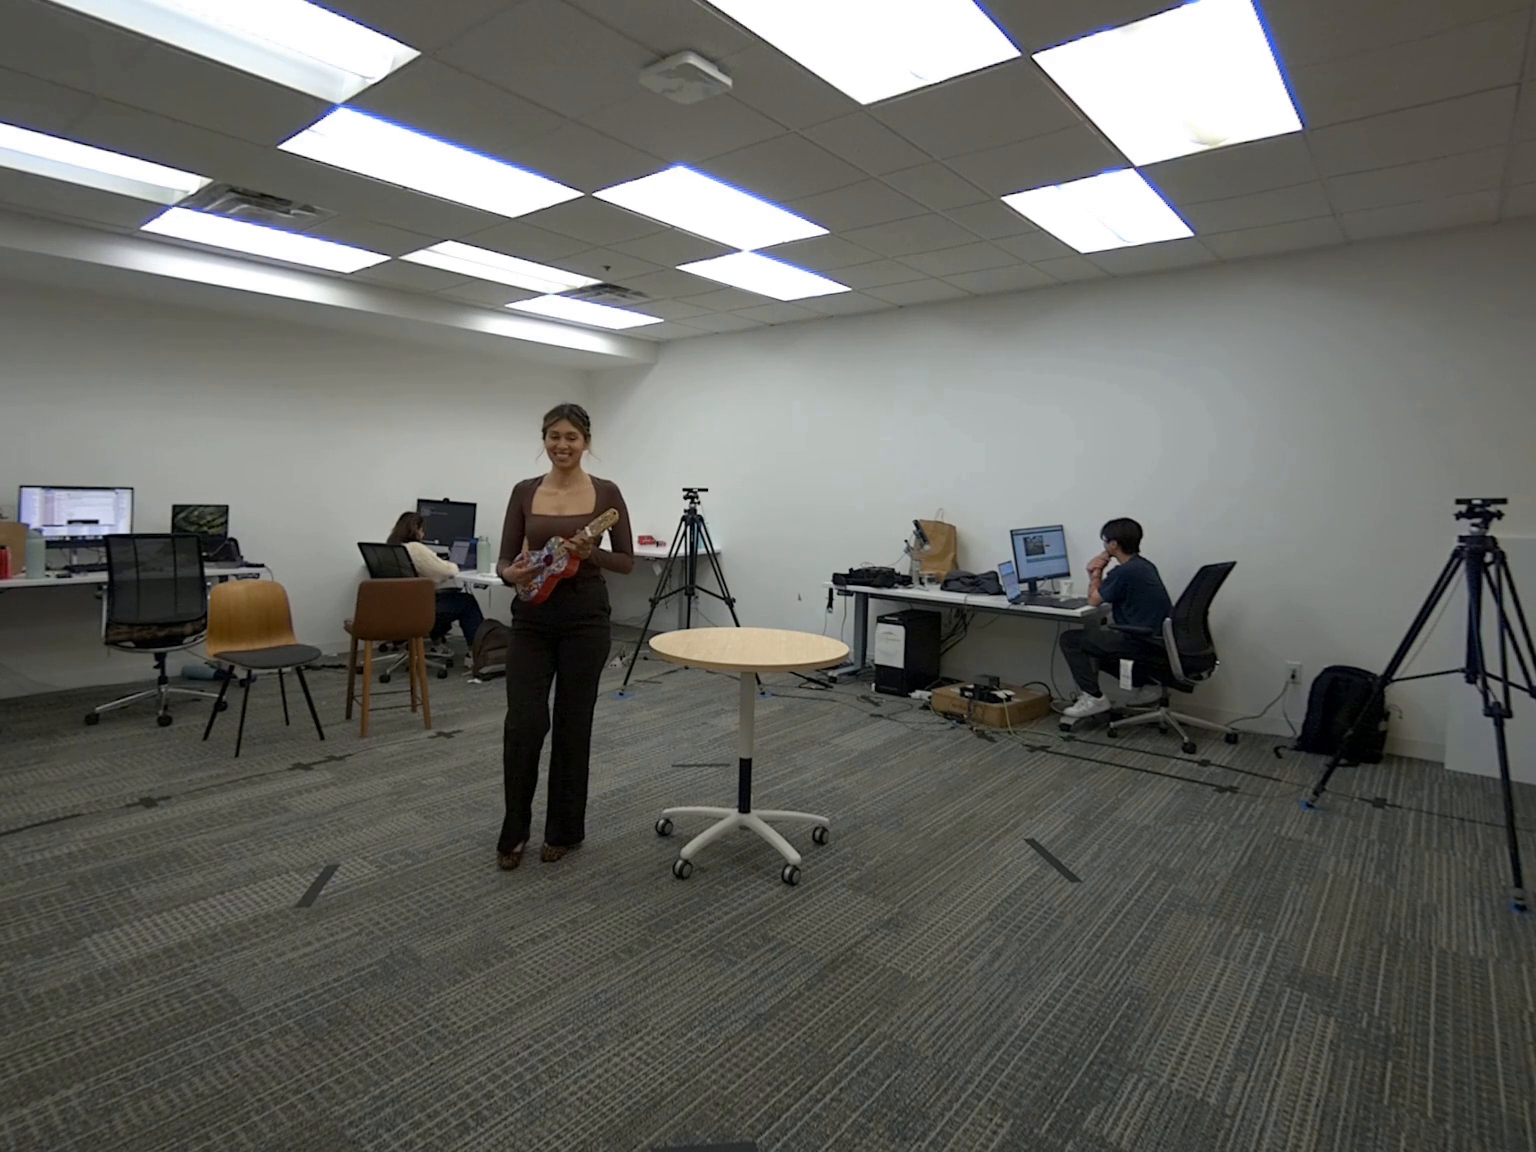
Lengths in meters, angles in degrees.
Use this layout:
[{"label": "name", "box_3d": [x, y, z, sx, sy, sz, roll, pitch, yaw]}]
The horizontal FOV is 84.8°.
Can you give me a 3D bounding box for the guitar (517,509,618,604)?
[{"label": "guitar", "box_3d": [-0.727, -0.068, 3.041, 0.504, 0.198, 0.068, -24, -24, 23]}]
